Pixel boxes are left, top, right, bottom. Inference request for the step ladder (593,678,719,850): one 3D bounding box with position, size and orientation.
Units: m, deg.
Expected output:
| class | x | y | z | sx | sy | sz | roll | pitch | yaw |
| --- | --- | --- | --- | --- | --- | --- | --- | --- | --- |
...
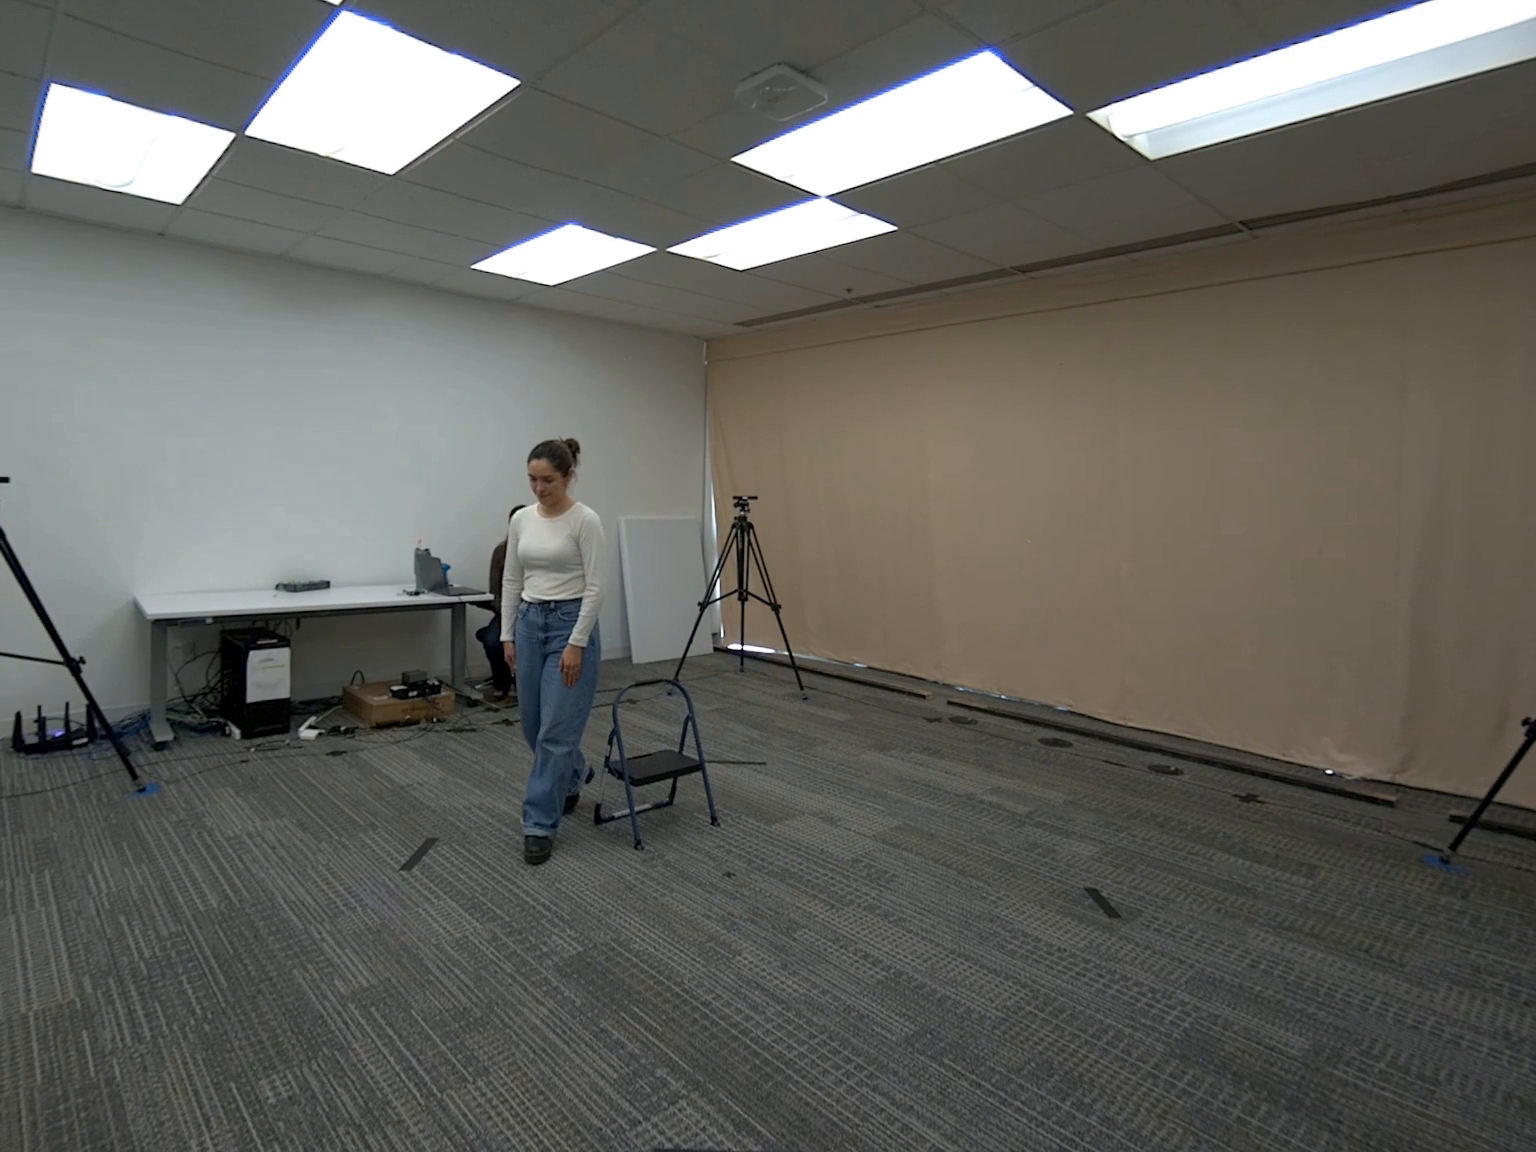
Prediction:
| class | x | y | z | sx | sy | sz | roll | pitch | yaw |
| --- | --- | --- | --- | --- | --- | --- | --- | --- | --- |
| step ladder | -0.473 | 0.754 | 3.553 | 0.420 | 0.605 | 0.358 | -1 | 4 | -43 |
